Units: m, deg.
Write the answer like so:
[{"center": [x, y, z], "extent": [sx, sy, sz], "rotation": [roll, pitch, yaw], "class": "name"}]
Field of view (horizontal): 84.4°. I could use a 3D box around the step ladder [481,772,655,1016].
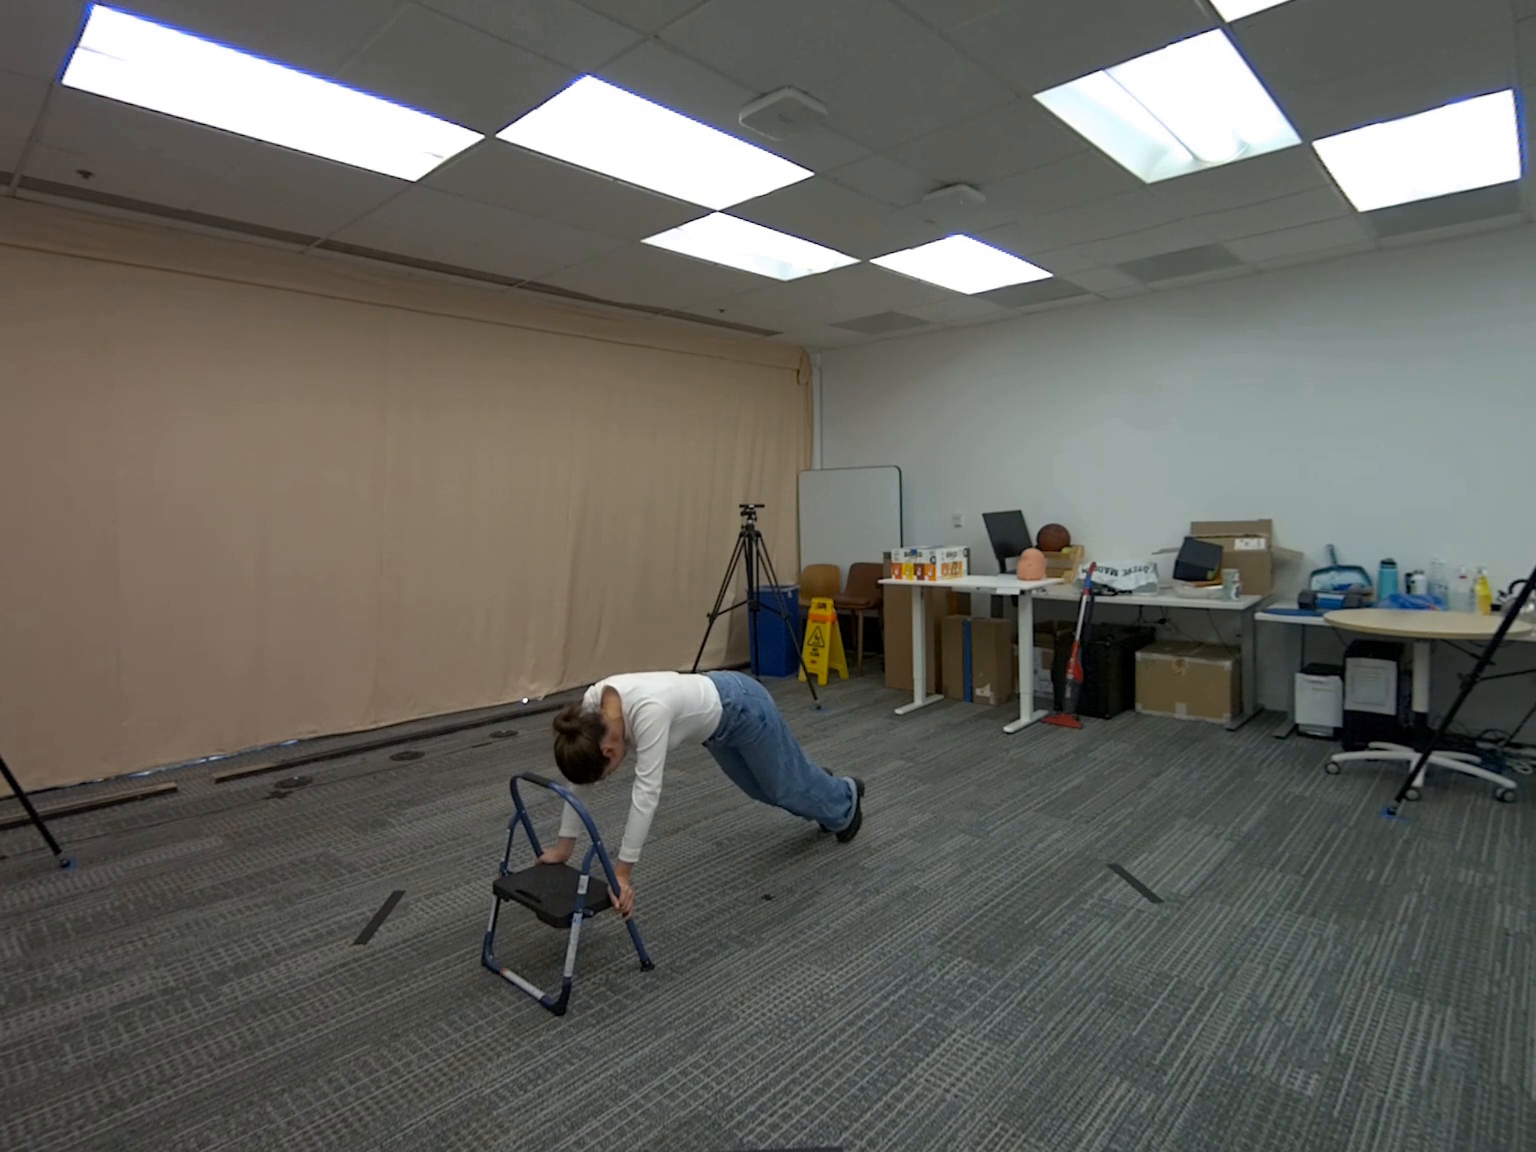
[{"center": [-0.622, 0.890, 2.549], "extent": [0.445, 0.605, 0.339], "rotation": [2, 4, 41], "class": "step ladder"}]
